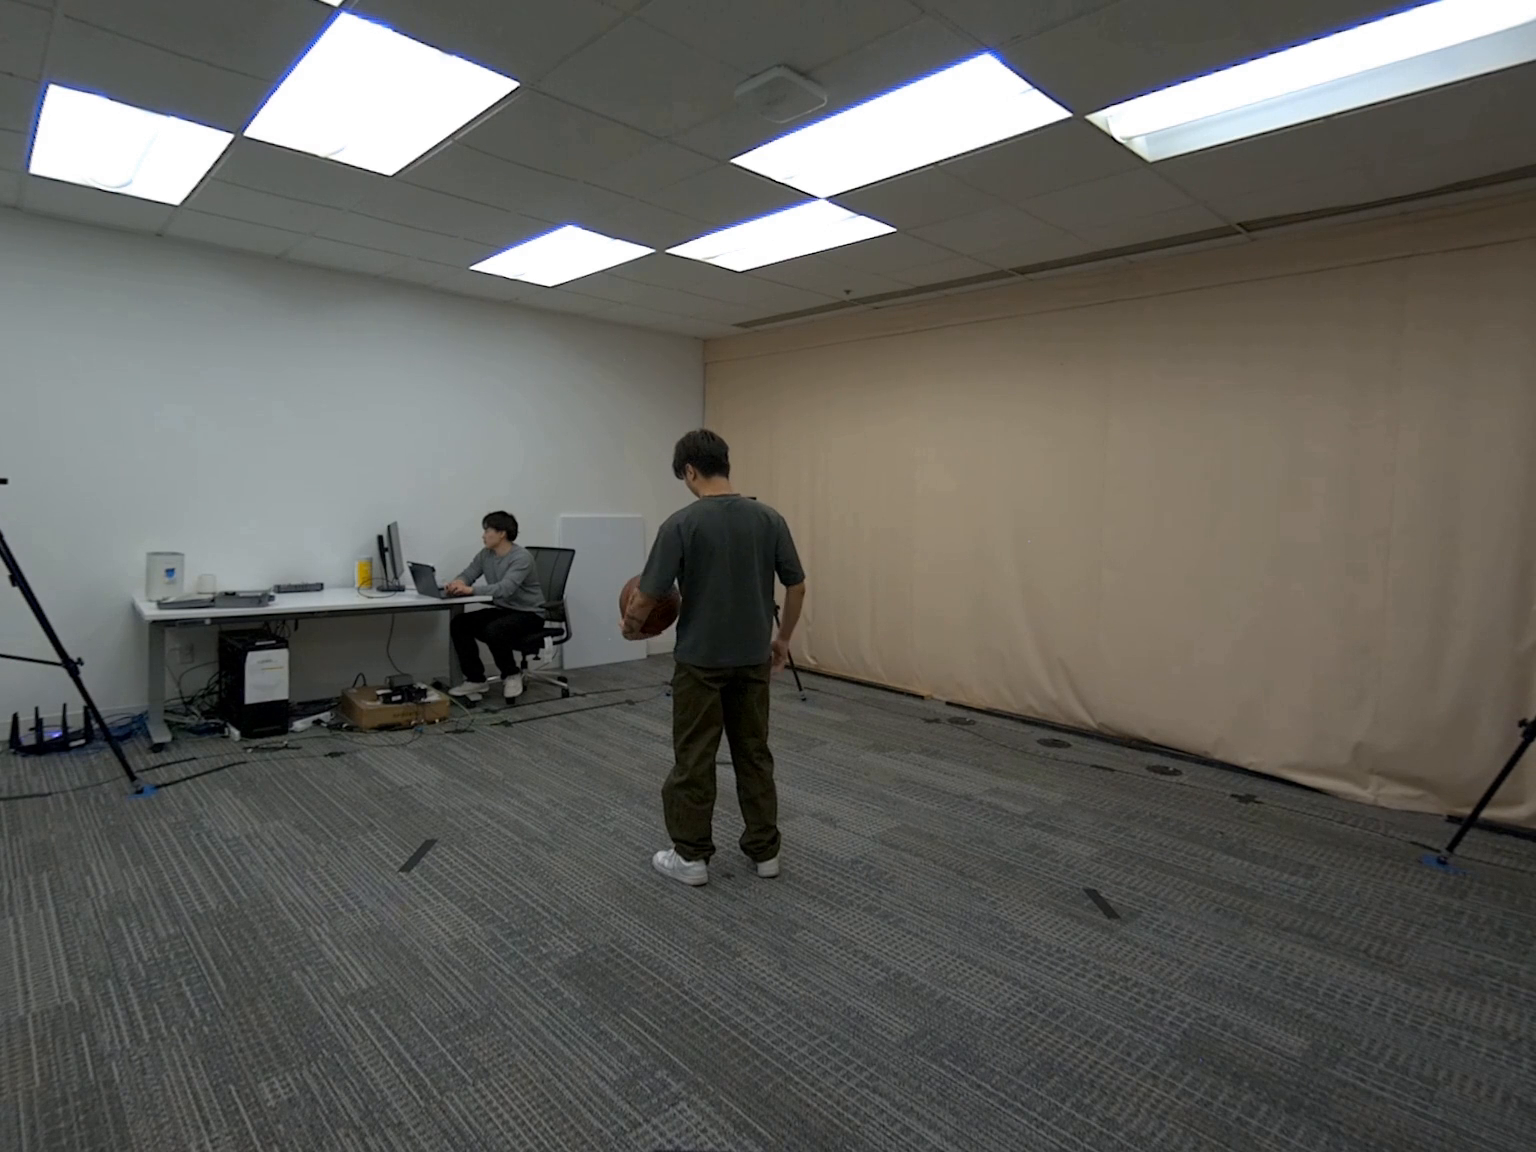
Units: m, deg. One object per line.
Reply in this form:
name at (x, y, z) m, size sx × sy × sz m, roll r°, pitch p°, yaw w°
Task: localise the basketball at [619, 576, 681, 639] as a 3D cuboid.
basketball at (-0.443, 0.108, 3.247) m, size 0.236 × 0.235 × 0.237 m, roll 1°, pitch 4°, yaw -1°
